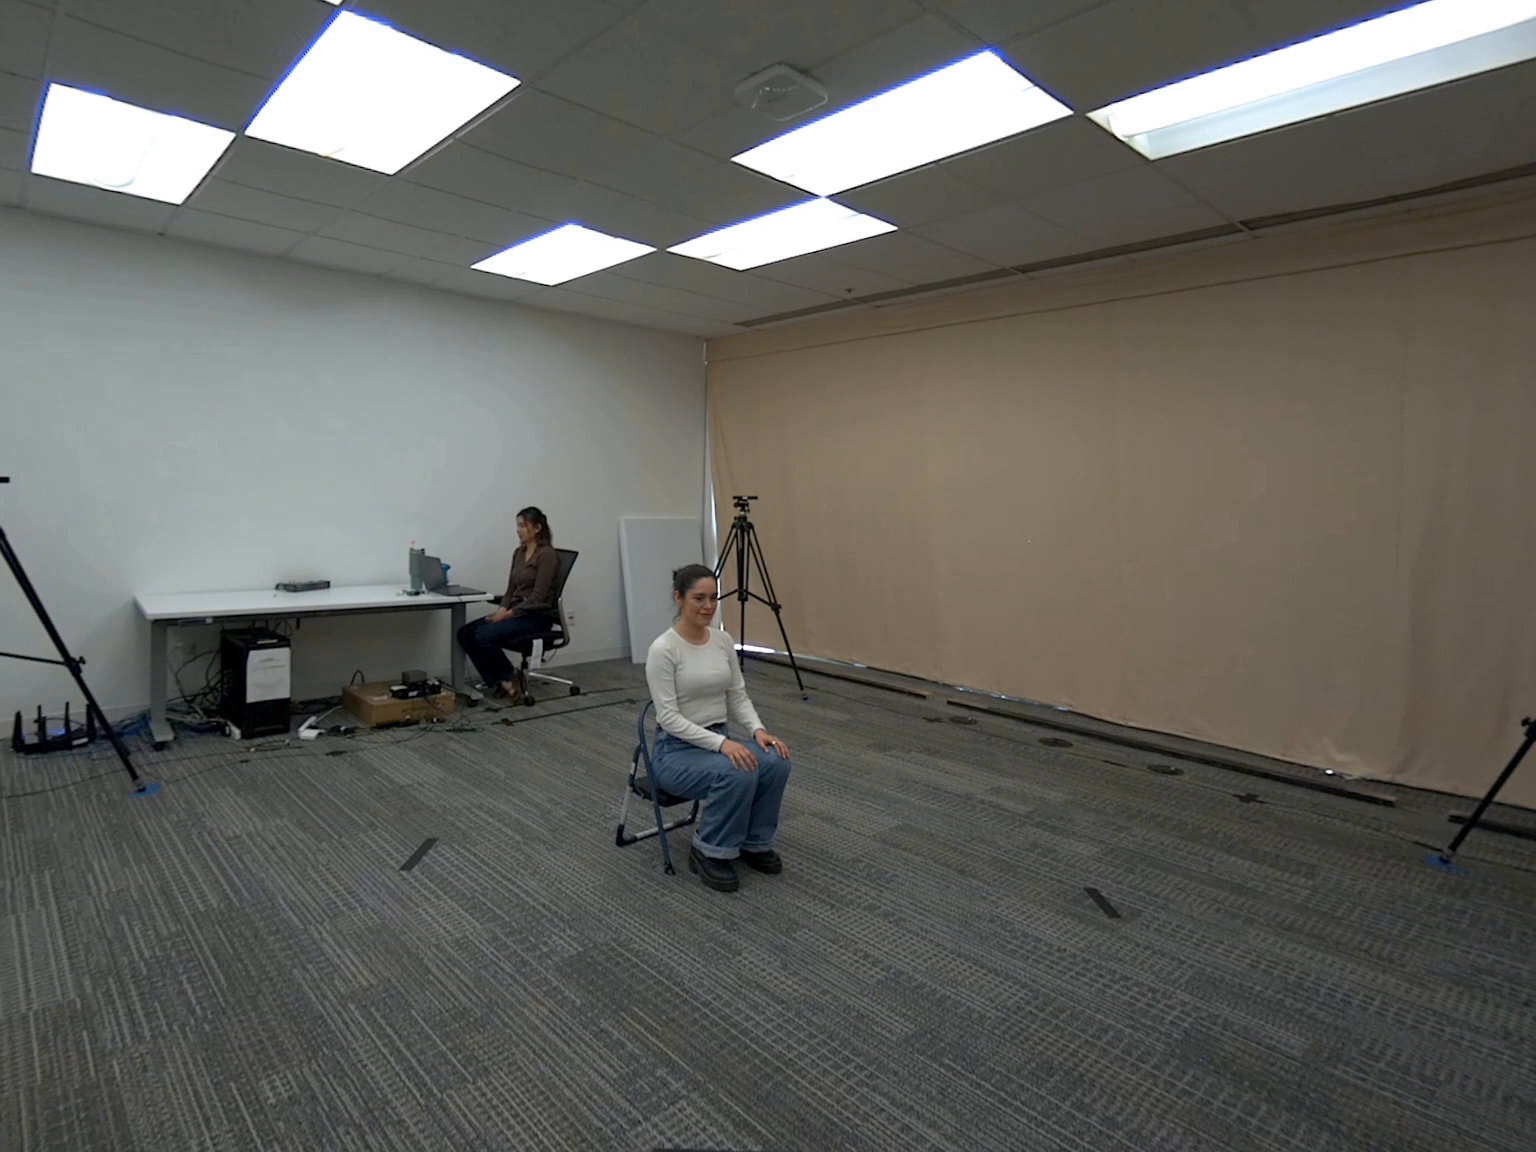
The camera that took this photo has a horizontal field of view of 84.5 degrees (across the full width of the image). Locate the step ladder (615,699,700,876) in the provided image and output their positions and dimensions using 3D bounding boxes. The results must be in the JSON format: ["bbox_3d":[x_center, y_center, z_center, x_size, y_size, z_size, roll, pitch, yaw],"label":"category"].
[{"bbox_3d":[-0.342,0.771,3.347,0.358,0.605,0.421,5,4,44],"label":"step ladder"}]
